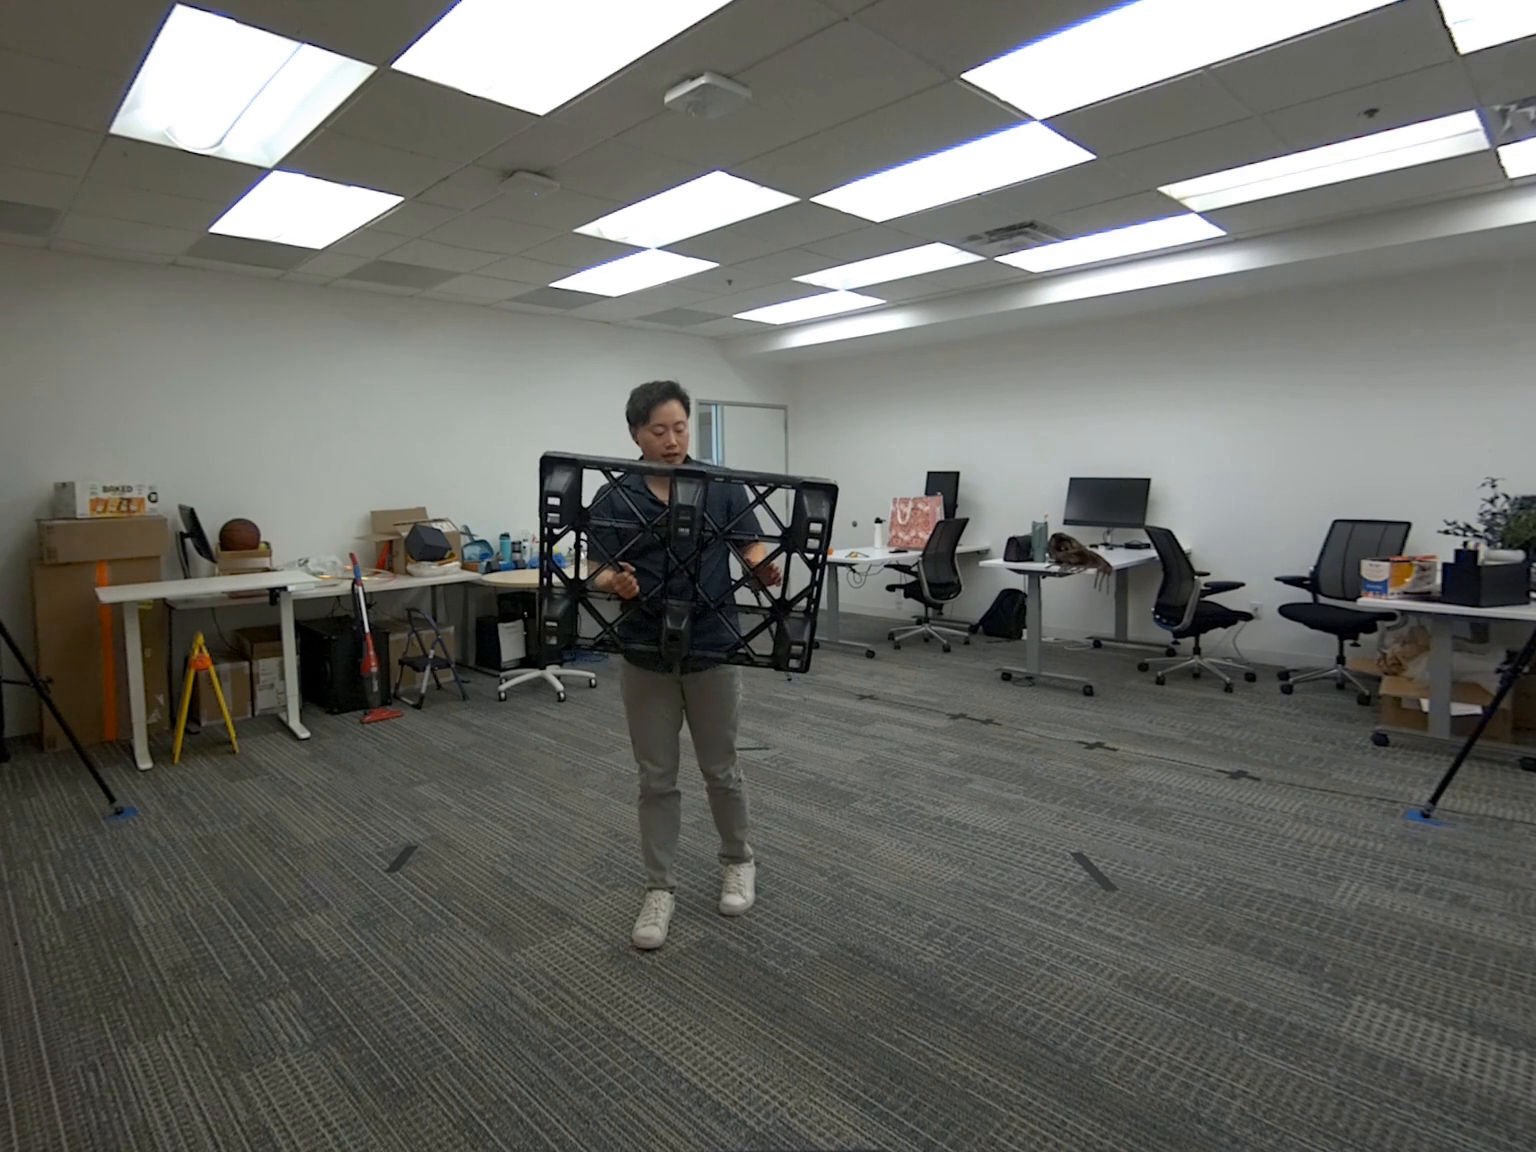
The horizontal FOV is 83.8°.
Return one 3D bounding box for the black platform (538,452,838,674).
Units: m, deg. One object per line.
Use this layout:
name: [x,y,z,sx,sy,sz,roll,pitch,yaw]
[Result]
black platform: [-0.234,0.002,2.347,0.805,0.594,0.146,6,24,-1]
